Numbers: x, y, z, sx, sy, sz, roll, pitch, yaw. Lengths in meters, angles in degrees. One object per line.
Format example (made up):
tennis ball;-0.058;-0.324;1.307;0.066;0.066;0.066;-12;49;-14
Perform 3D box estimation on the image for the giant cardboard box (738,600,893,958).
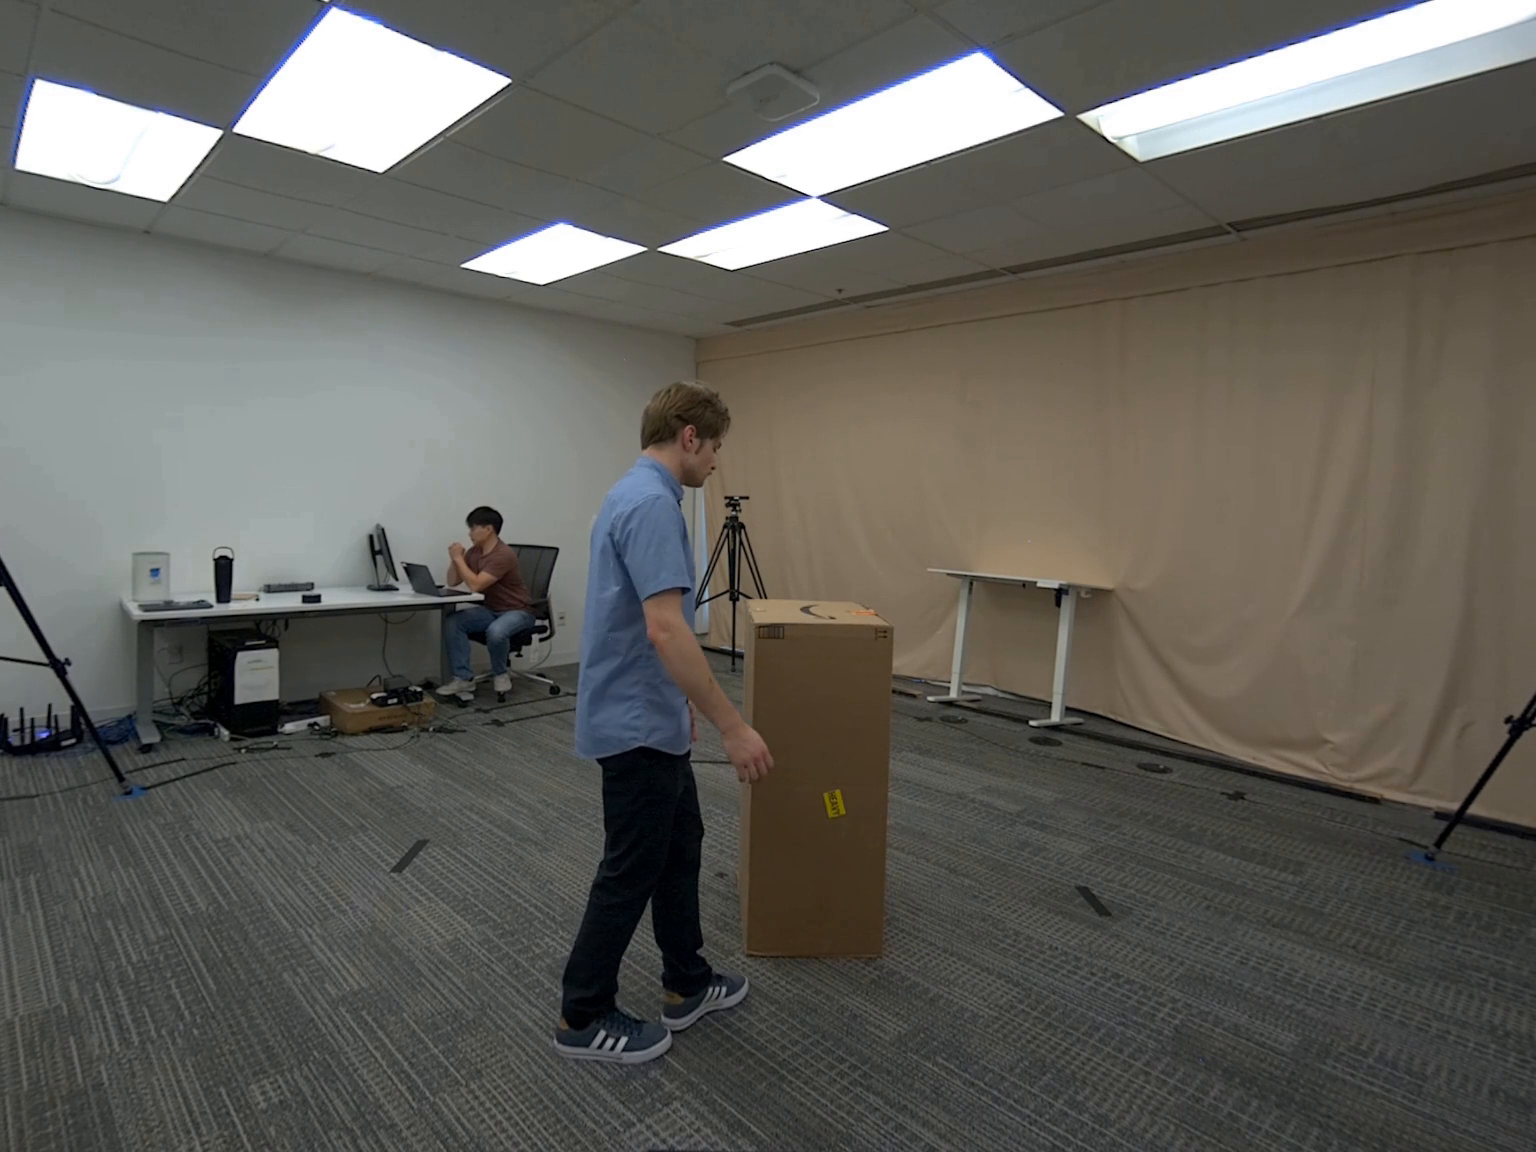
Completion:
giant cardboard box;0.135;0.627;2.815;0.425;1.023;0.580;1;3;-3
